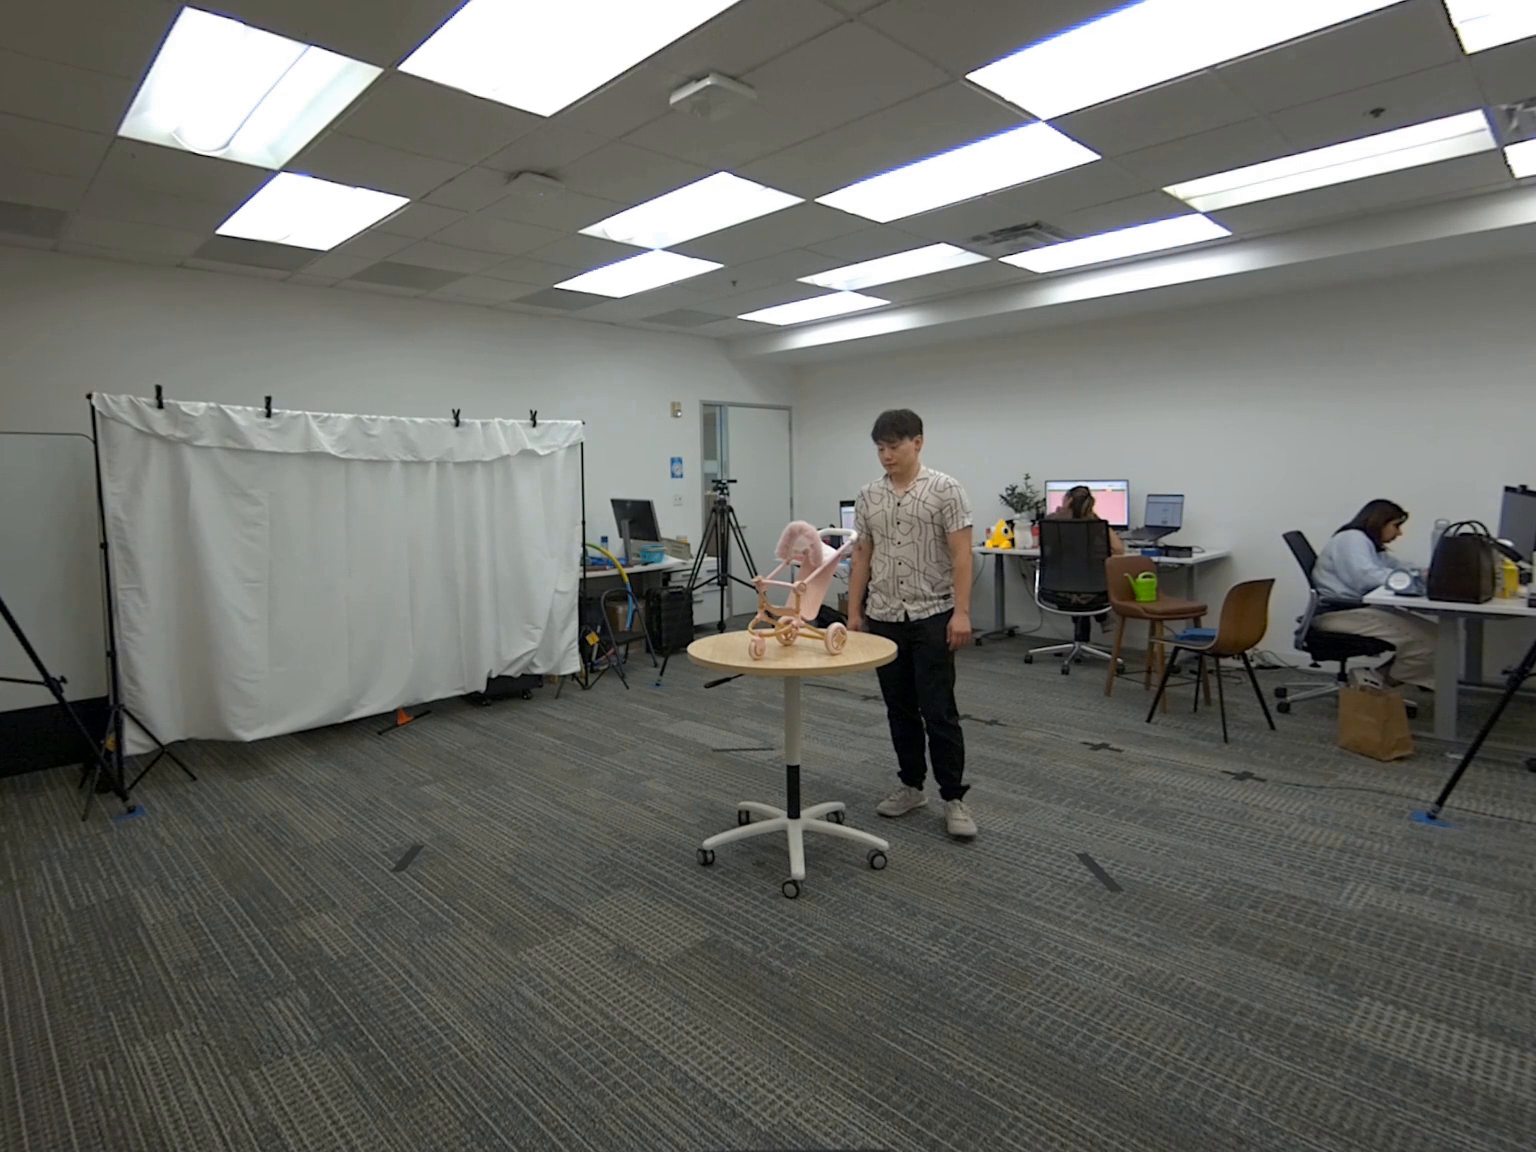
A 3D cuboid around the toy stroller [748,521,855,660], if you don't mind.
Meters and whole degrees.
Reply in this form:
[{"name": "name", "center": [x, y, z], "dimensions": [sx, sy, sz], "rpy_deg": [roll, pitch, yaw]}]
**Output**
[{"name": "toy stroller", "center": [0.104, 0.047, 3.016], "dimensions": [0.330, 0.537, 0.290], "rpy_deg": [17, -8, -36]}]
